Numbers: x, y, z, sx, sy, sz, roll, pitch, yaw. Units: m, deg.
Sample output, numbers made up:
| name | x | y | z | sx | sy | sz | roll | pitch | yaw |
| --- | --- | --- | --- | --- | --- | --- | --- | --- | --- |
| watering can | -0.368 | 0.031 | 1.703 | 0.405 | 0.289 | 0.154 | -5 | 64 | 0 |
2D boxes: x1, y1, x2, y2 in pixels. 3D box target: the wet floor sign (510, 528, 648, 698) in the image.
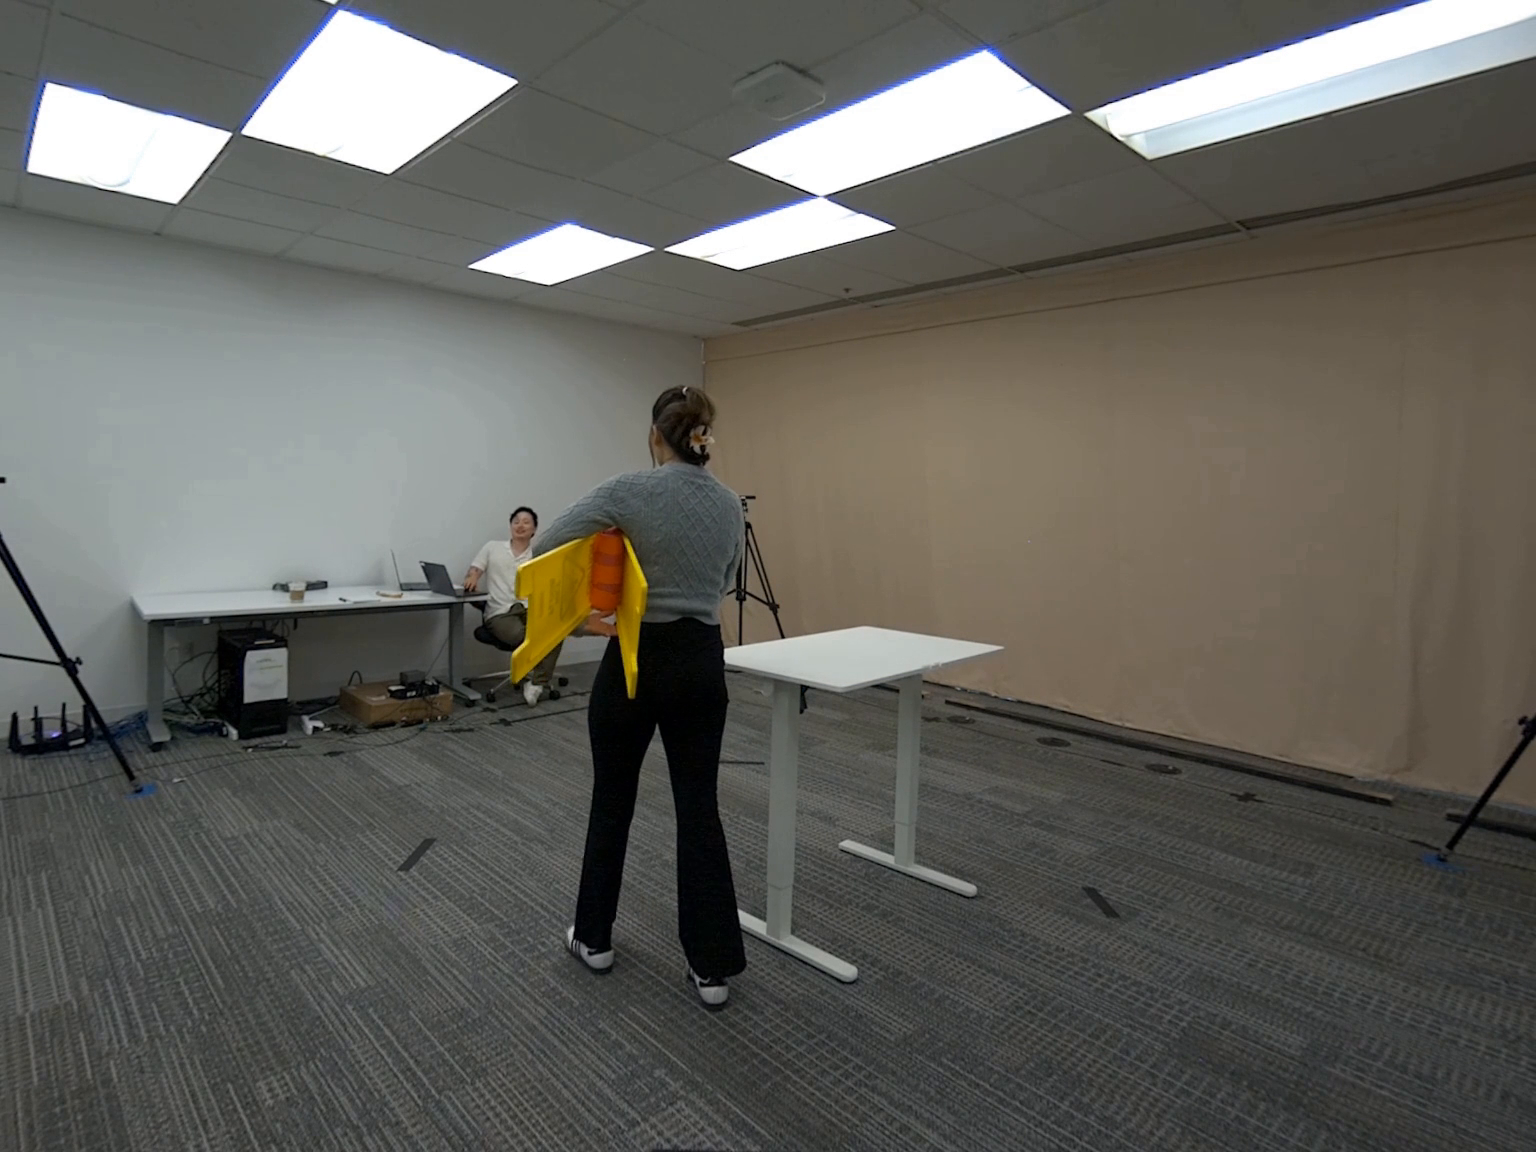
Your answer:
| name | x | y | z | sx | sy | sz | roll | pitch | yaw |
| --- | --- | --- | --- | --- | --- | --- | --- | --- | --- |
| wet floor sign | -0.452 | 0.037 | 2.174 | 0.289 | 0.279 | 0.654 | 6 | 15 | -4 |
